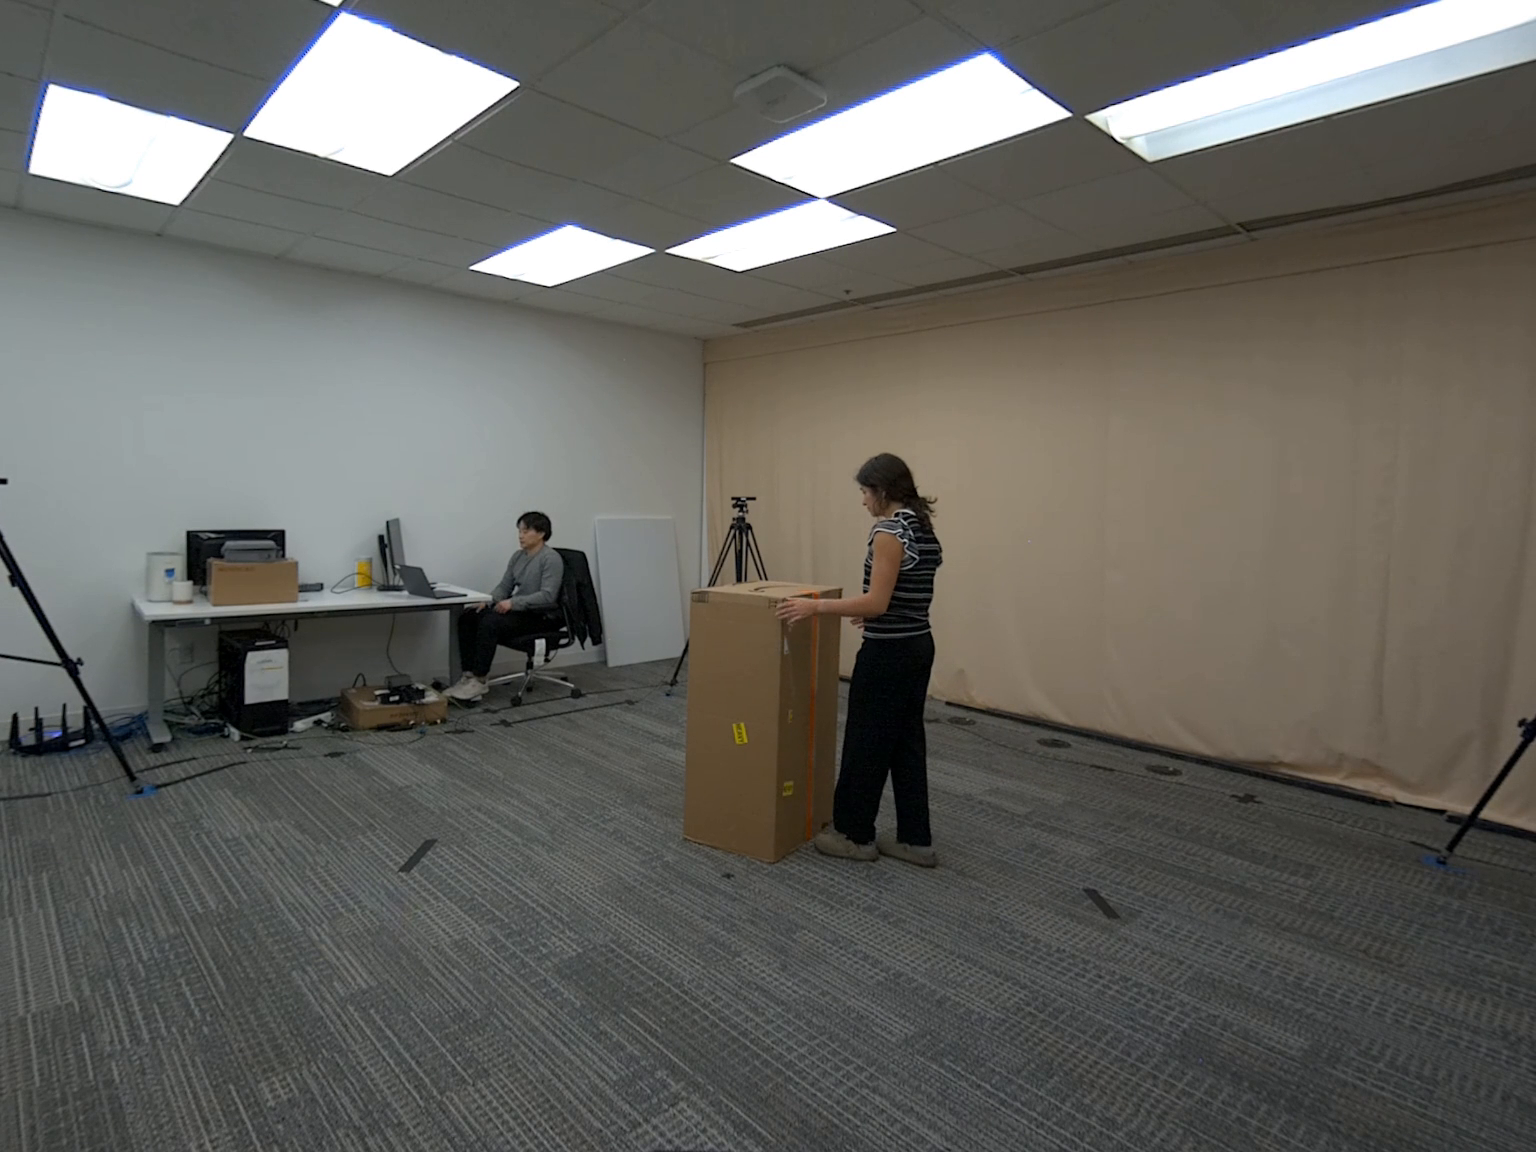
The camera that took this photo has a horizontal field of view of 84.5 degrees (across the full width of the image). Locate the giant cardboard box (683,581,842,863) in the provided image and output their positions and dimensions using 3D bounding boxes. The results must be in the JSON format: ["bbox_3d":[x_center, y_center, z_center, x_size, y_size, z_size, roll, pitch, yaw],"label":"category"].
[{"bbox_3d":[-0.016,0.567,3.545,0.435,1.024,0.566,3,3,30],"label":"giant cardboard box"}]
